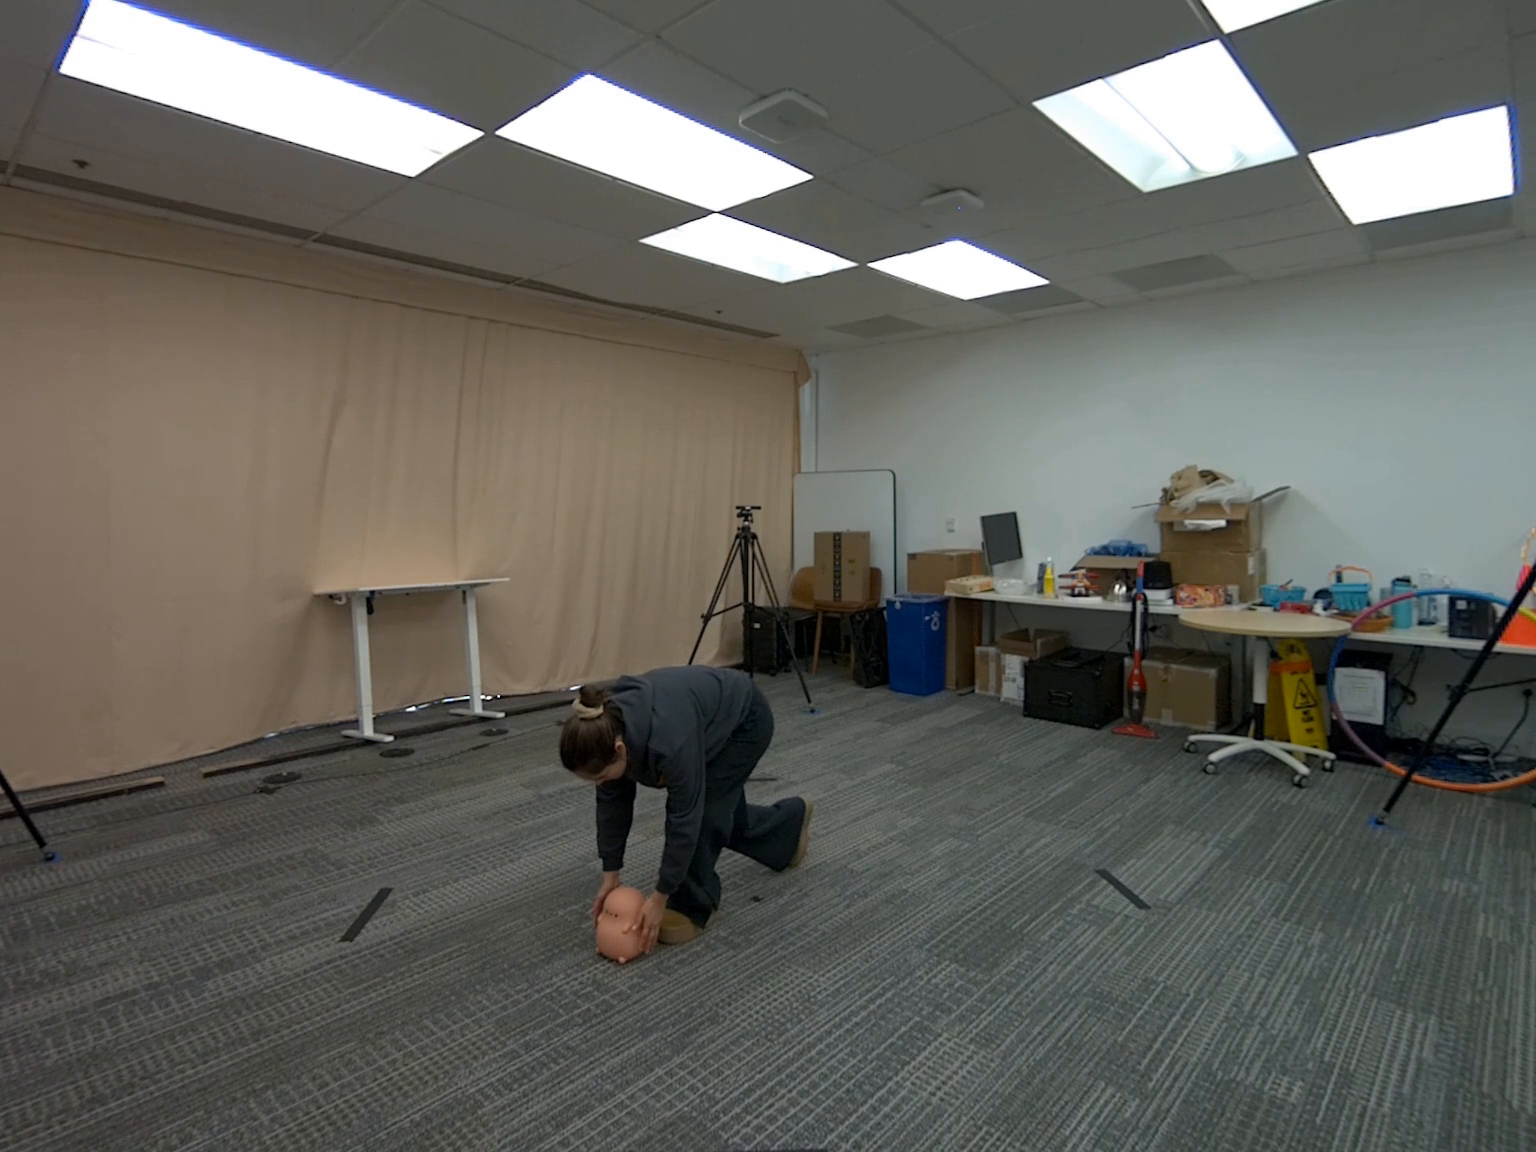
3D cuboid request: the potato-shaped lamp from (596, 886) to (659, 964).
[{"bbox_3d":[-0.428,1.075,2.635,0.170,0.198,0.166,3,3,35],"label":"potato-shaped lamp"}]
